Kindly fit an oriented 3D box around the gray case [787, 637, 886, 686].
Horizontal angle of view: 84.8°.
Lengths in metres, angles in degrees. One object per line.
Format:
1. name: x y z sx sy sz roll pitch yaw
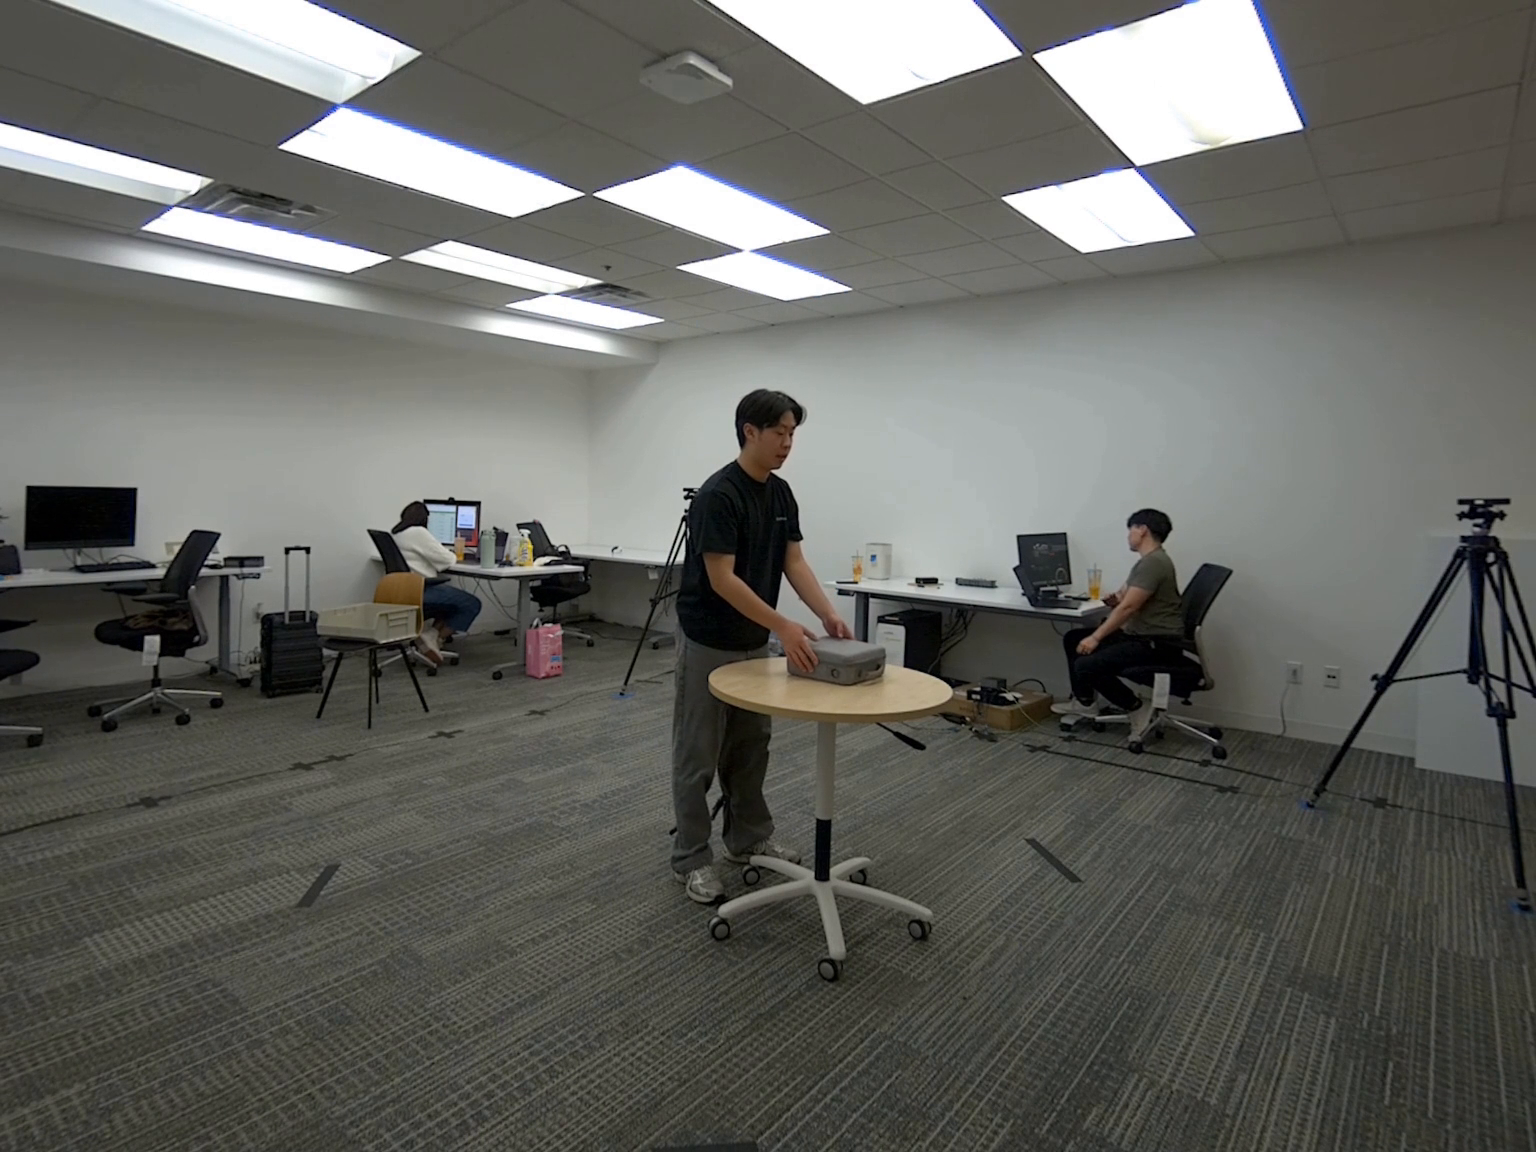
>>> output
1. gray case: 0.233 0.277 2.795 0.297 0.102 0.255 6 7 39
